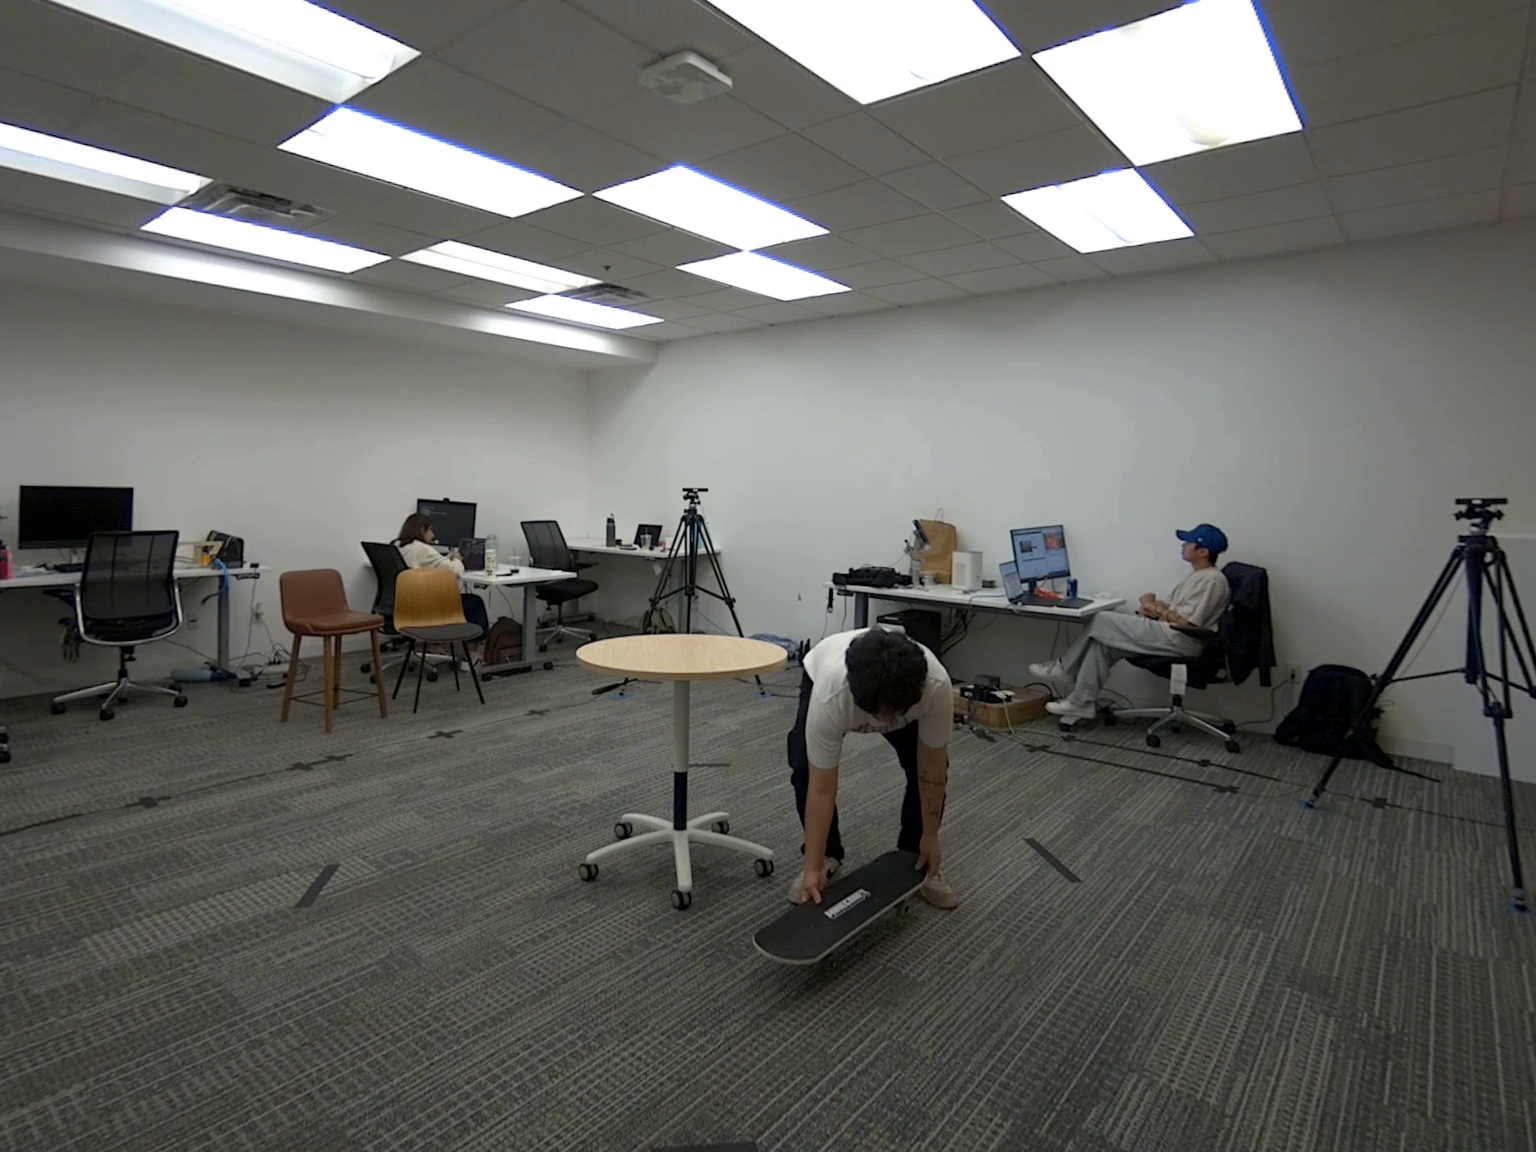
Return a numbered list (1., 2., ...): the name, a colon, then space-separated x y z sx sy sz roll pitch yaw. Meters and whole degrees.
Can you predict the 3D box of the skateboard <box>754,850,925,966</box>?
1. skateboard: 0.242 1.023 2.594 0.200 0.109 0.763 10 12 40
